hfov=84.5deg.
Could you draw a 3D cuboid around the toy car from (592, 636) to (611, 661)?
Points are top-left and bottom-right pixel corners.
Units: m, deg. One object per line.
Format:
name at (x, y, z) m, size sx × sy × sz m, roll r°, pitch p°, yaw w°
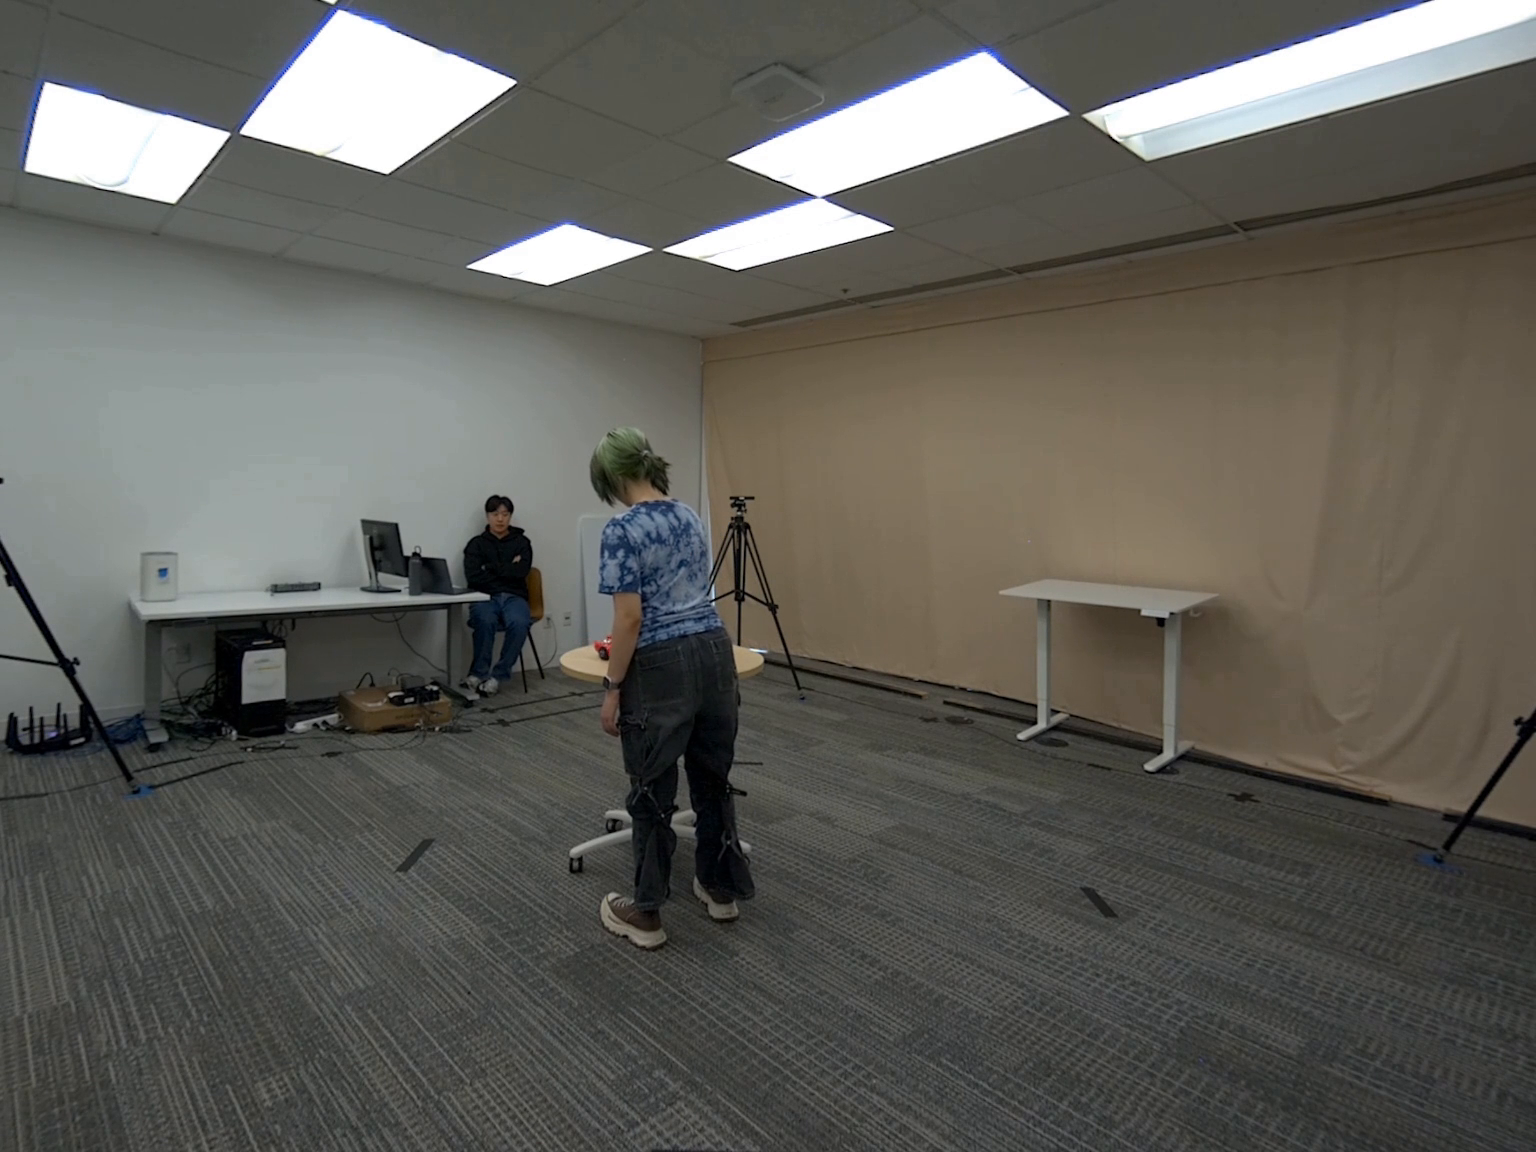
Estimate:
toy car at (-0.549, 0.285, 3.117) m, size 0.262 × 0.082 × 0.127 m, roll 18°, pitch 16°, yaw 36°
